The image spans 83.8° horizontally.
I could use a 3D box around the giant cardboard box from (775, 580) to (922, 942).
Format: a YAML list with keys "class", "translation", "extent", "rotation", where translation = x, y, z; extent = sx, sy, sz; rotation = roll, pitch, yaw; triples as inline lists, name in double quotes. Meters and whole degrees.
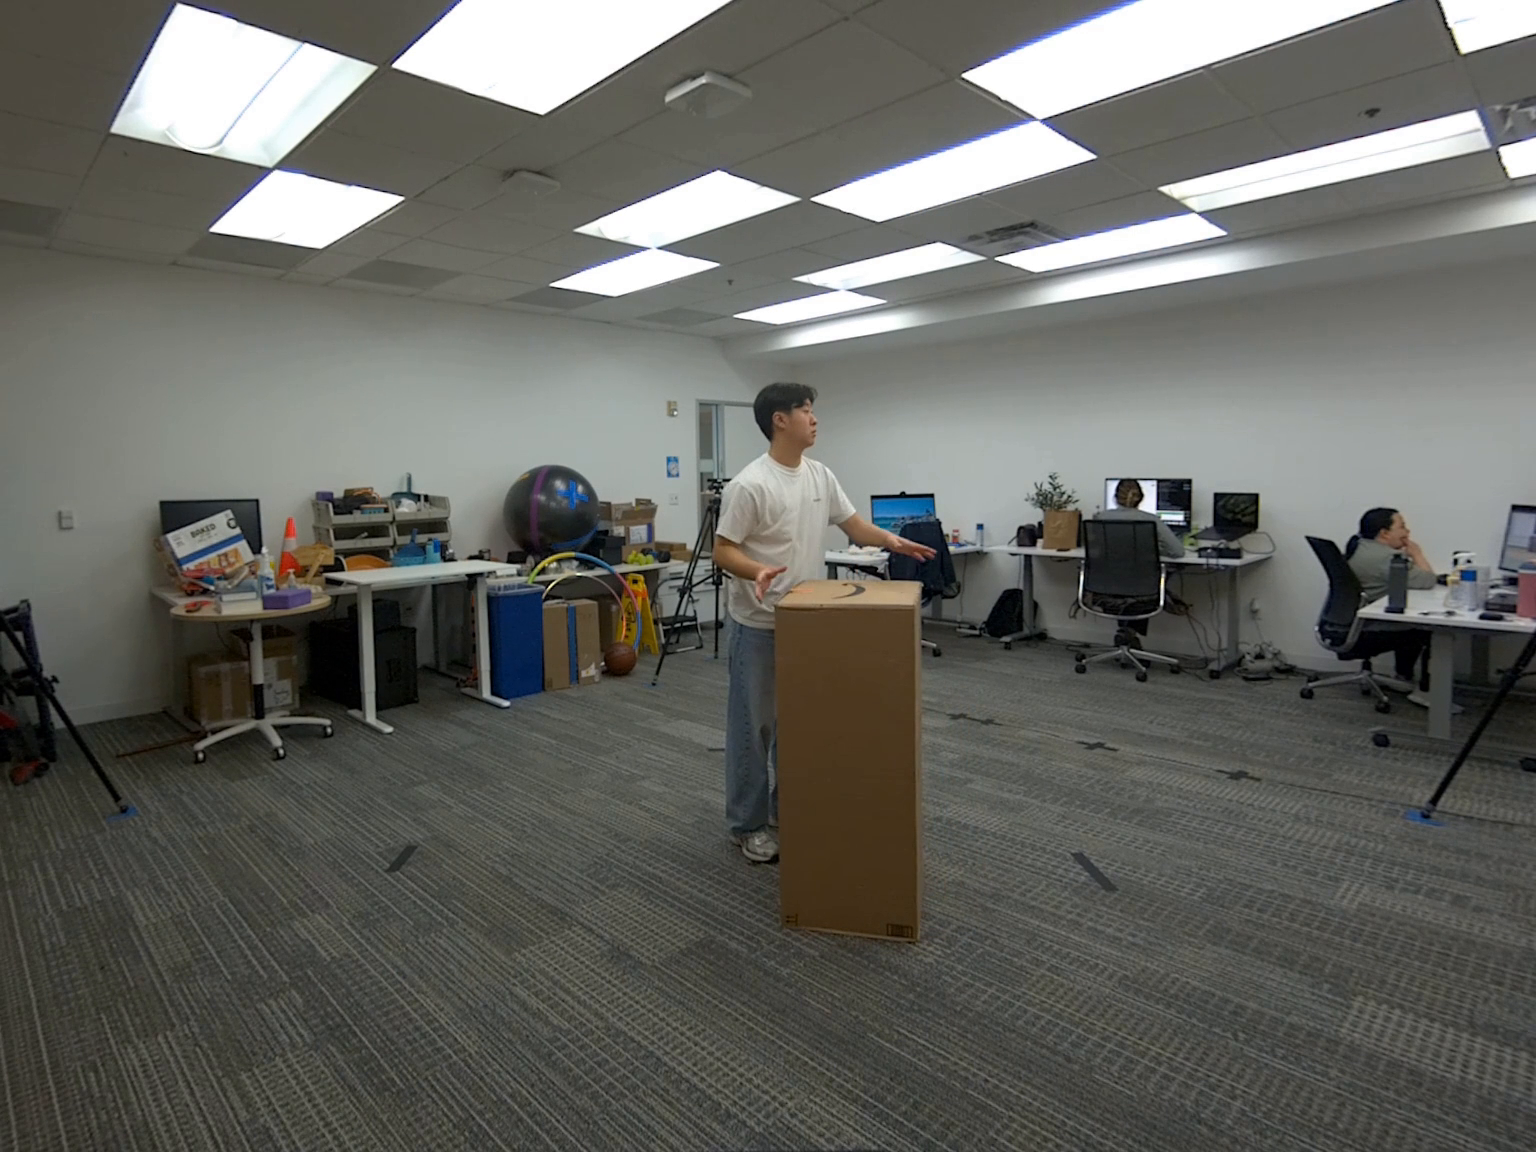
- class: "giant cardboard box"
  translation: [0.297, 0.560, 2.836]
  extent: [0.432, 1.022, 0.572]
  rotation: [-1, 5, 13]
